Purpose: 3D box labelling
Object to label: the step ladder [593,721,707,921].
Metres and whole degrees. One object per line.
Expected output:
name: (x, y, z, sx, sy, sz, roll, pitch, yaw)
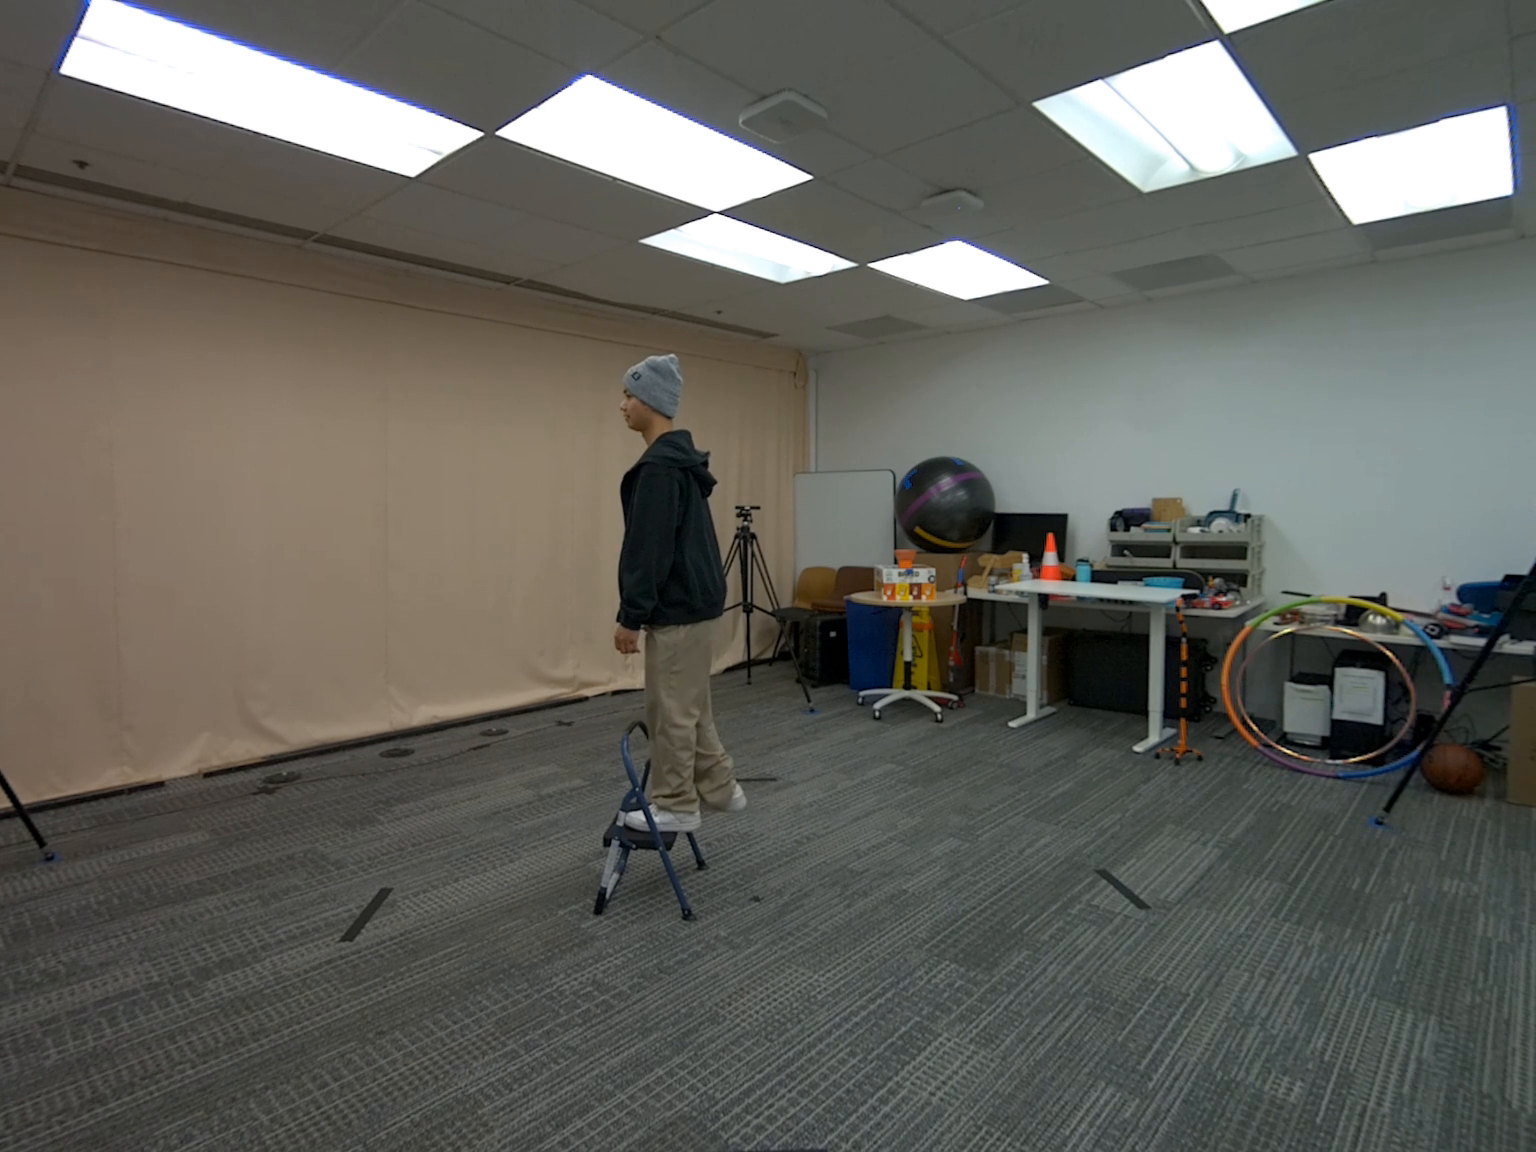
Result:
step ladder: (-0.416, 0.846, 3.041, 0.351, 0.605, 0.429, 1, 4, 3)
